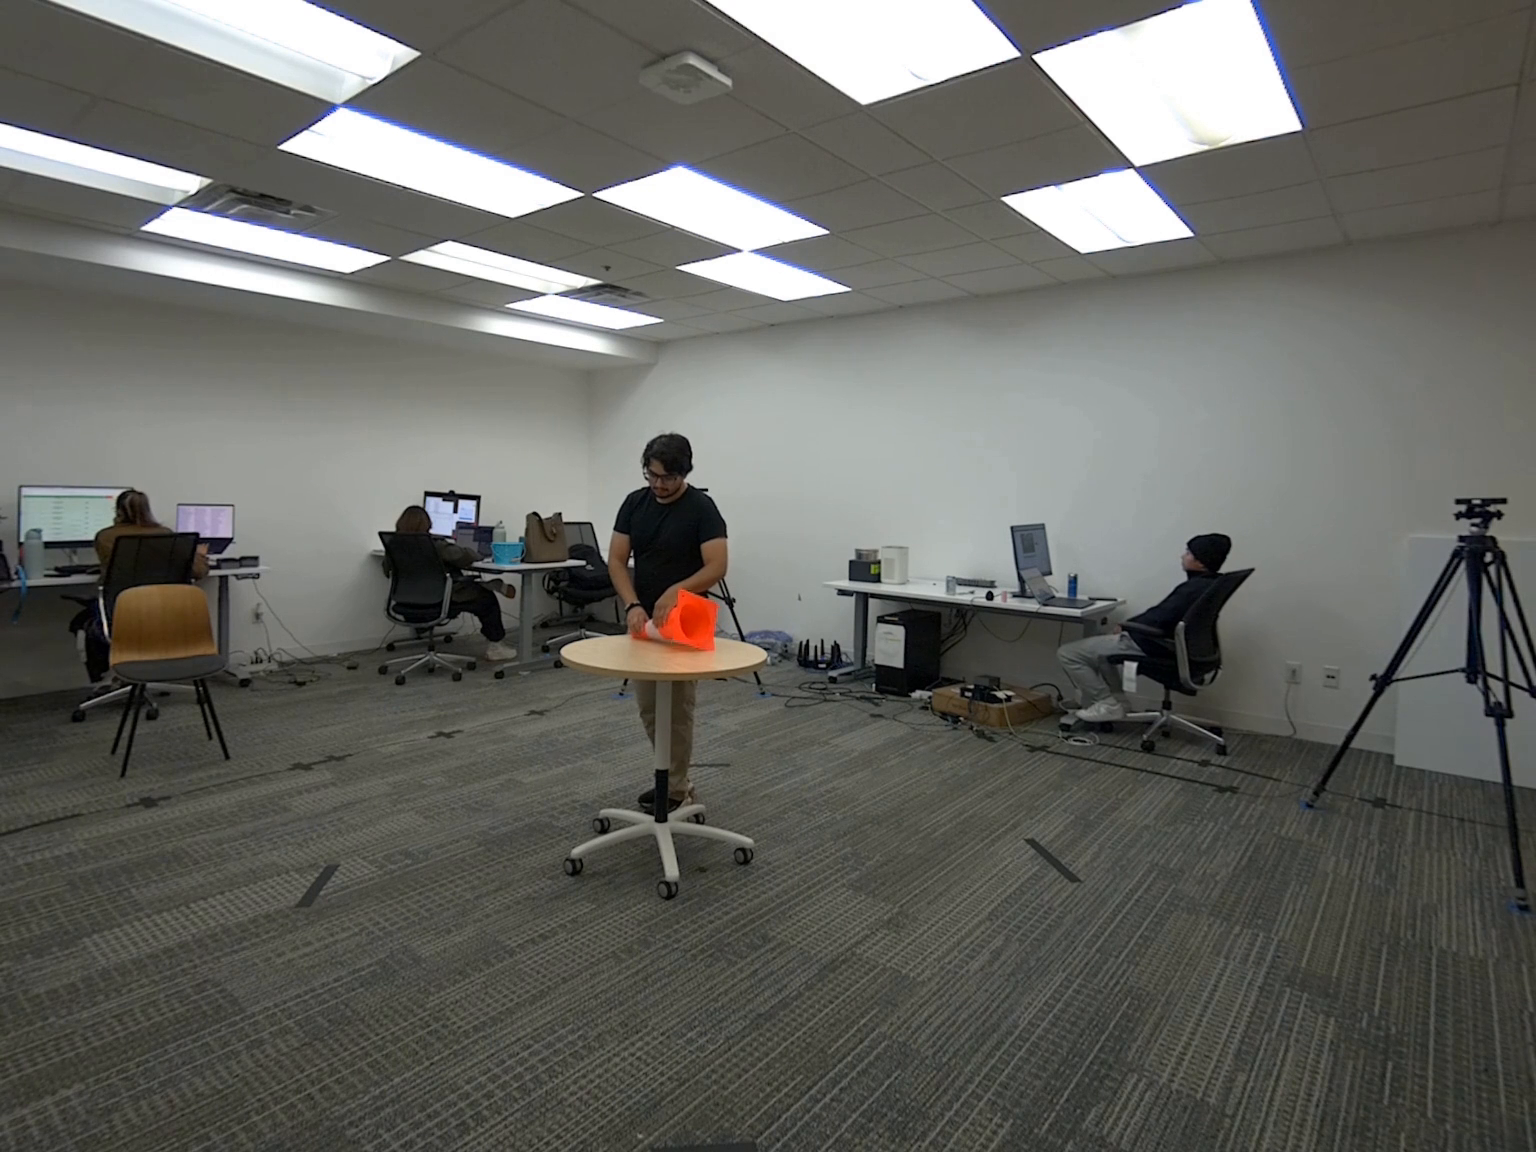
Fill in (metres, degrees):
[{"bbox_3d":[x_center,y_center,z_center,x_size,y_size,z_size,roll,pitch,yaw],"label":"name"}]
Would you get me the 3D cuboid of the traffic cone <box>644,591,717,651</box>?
[{"bbox_3d":[-0.415,0.205,3.325,0.195,0.209,0.391,23,-28,-38],"label":"traffic cone"}]
